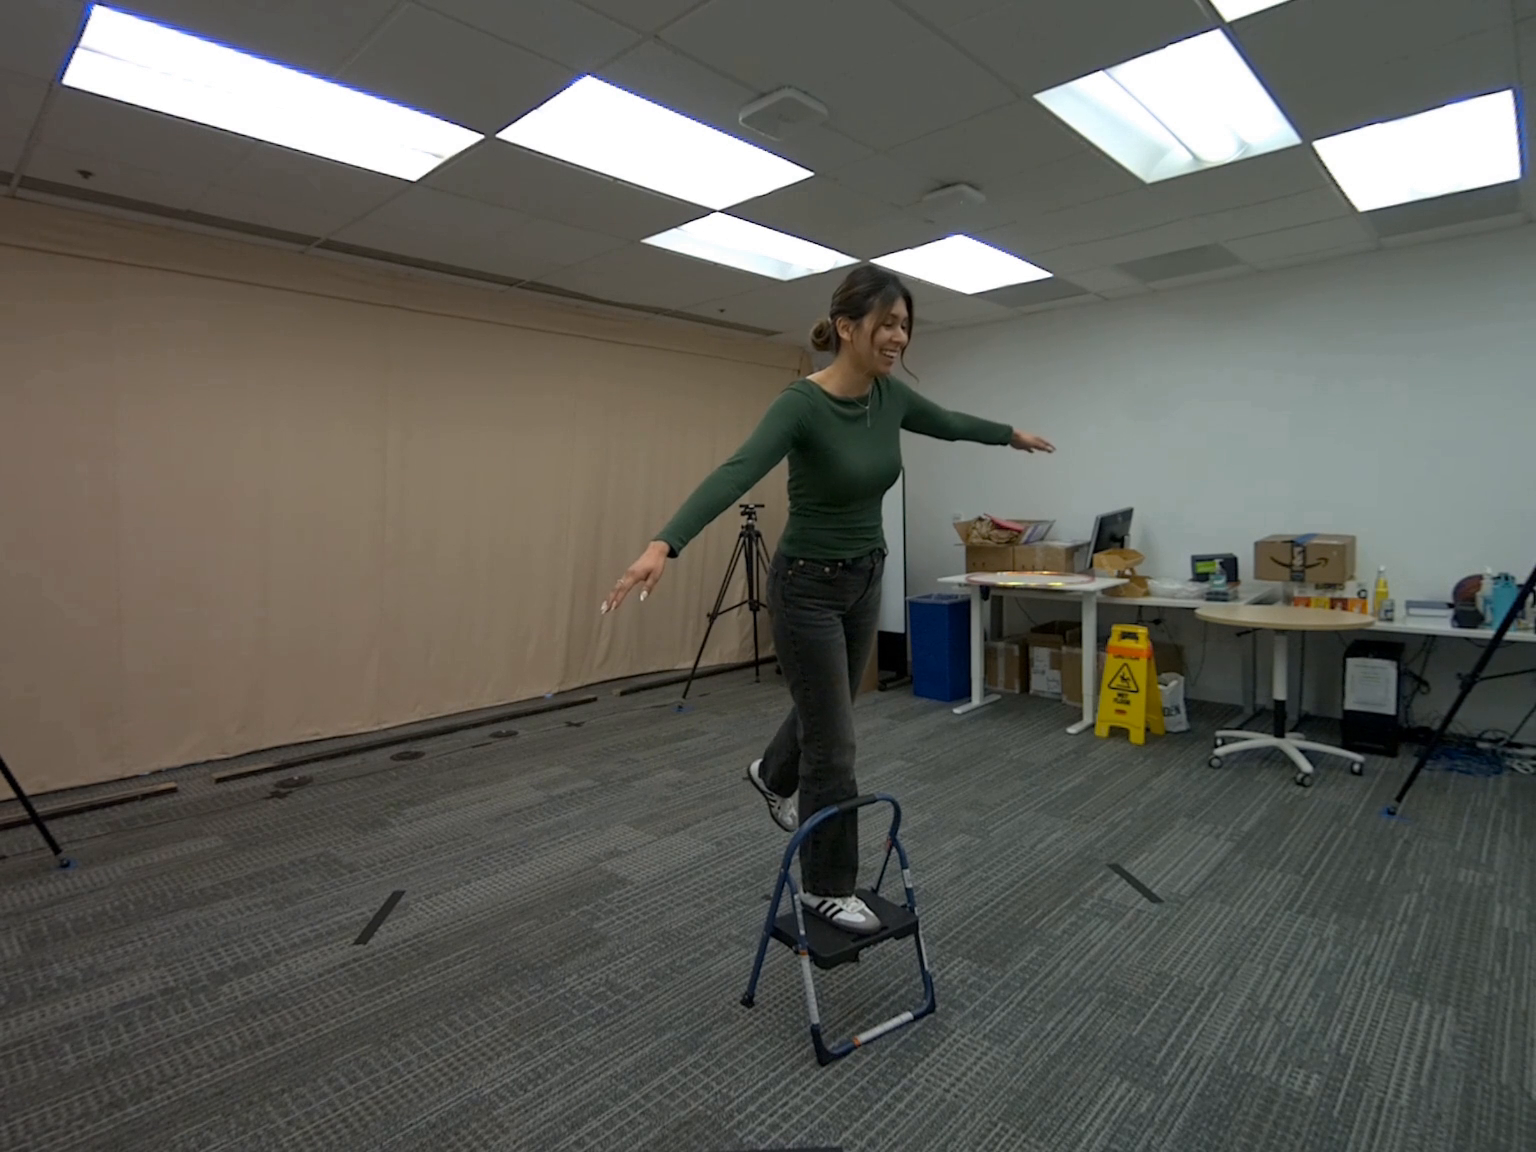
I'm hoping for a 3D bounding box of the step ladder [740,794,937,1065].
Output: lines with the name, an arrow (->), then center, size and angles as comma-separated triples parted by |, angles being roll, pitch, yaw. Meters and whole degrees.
step ladder -> 0.195, 0.892, 2.317 | 0.418, 0.604, 0.360 | -4, 5, -36
